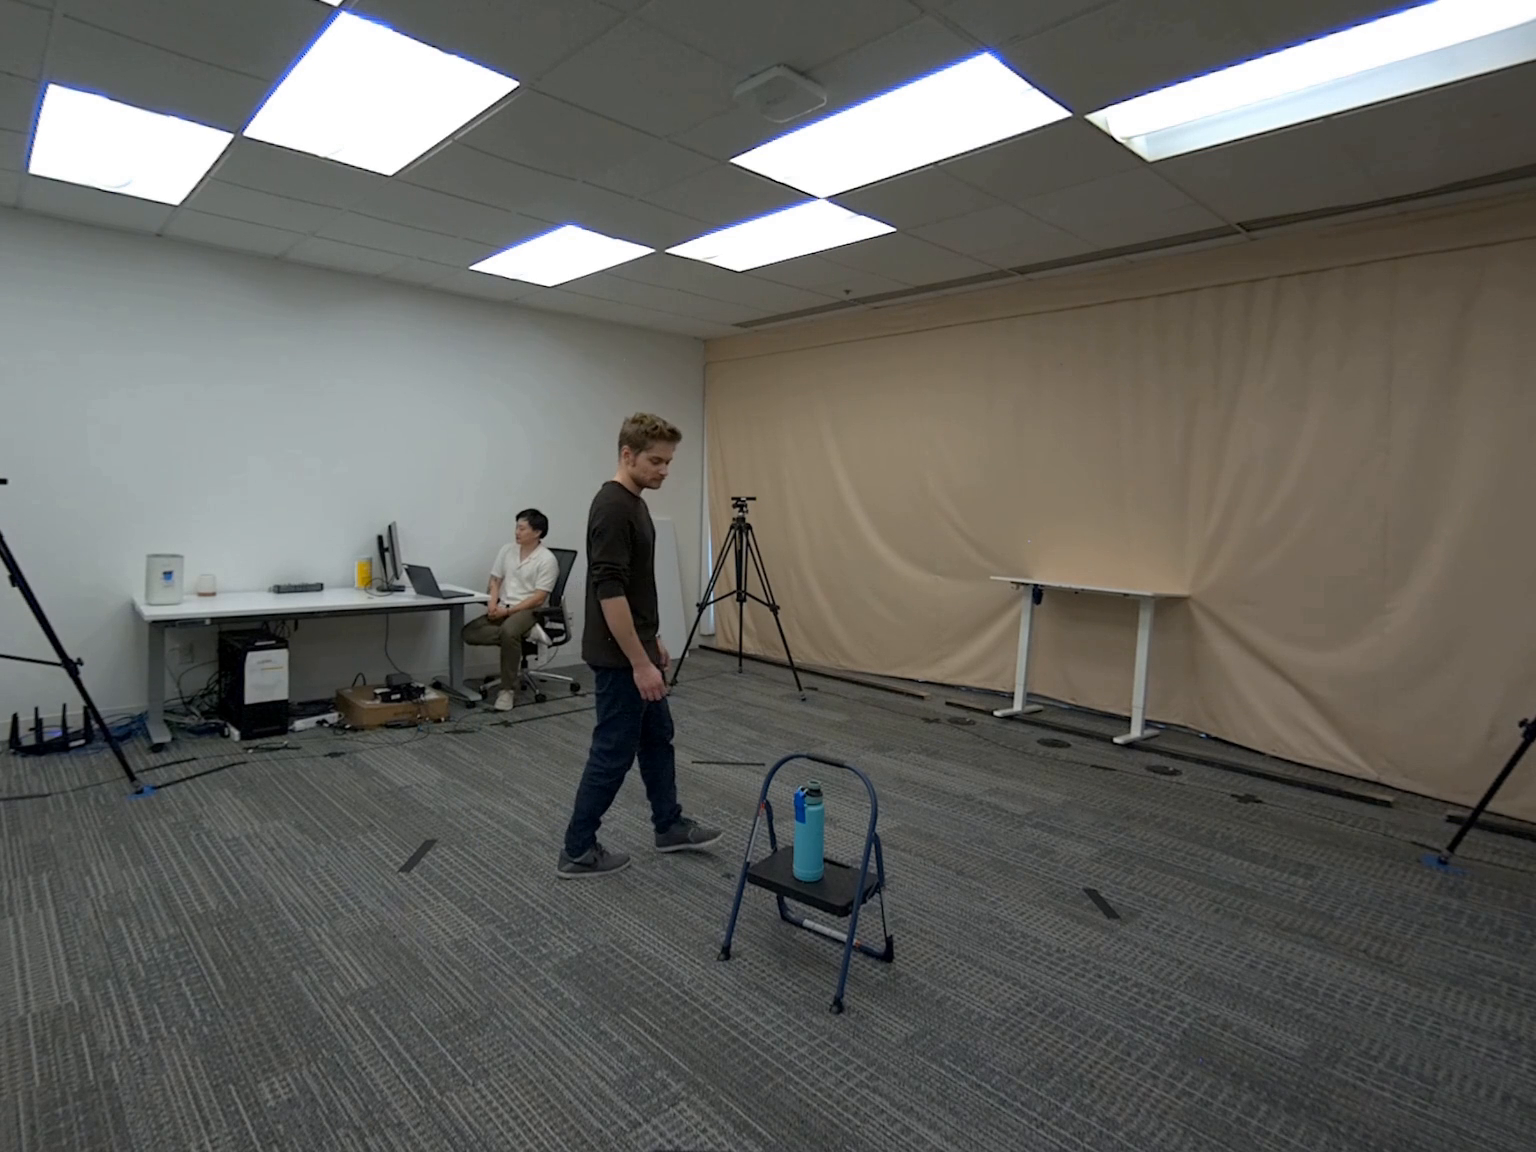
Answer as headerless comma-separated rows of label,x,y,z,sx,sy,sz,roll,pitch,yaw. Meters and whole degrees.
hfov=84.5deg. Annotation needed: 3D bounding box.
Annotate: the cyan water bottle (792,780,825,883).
cyan water bottle,0.119,0.766,2.524,0.092,0.282,0.093,1,5,-1
